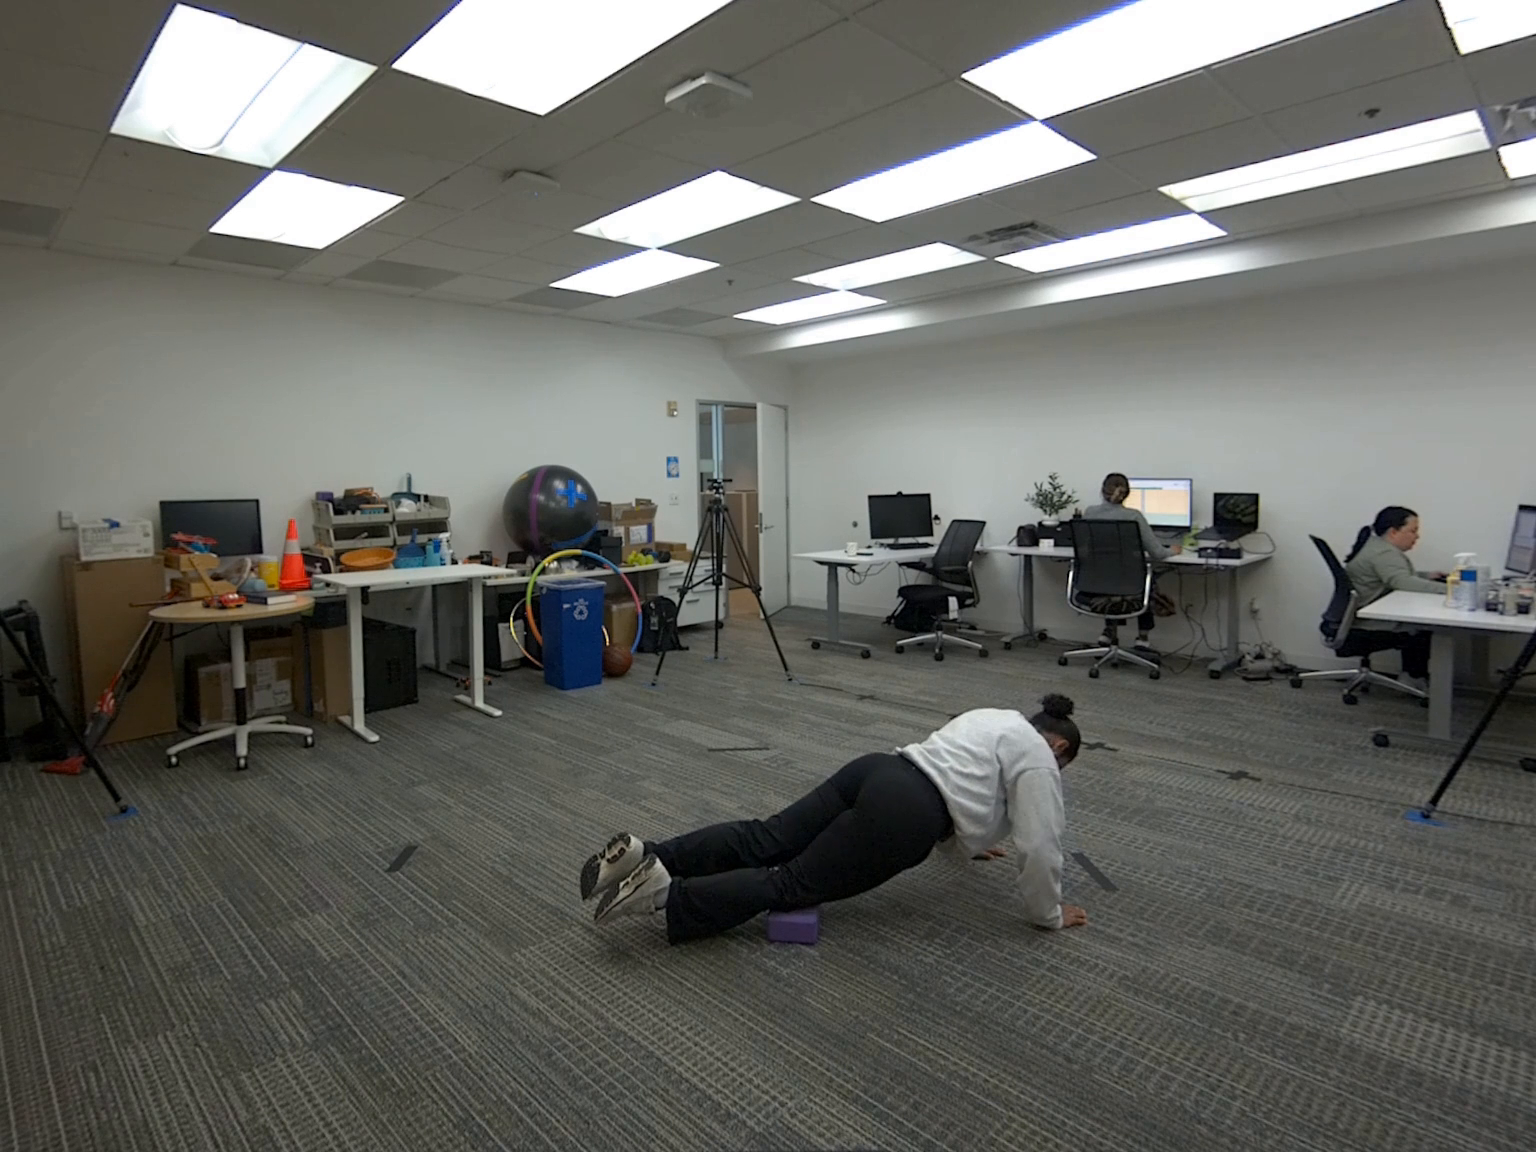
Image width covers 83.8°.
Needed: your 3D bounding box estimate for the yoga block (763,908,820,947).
[{"bbox_3d":[0.087,1.044,2.674,0.150,0.076,0.227,-1,4,10],"label":"yoga block"}]
